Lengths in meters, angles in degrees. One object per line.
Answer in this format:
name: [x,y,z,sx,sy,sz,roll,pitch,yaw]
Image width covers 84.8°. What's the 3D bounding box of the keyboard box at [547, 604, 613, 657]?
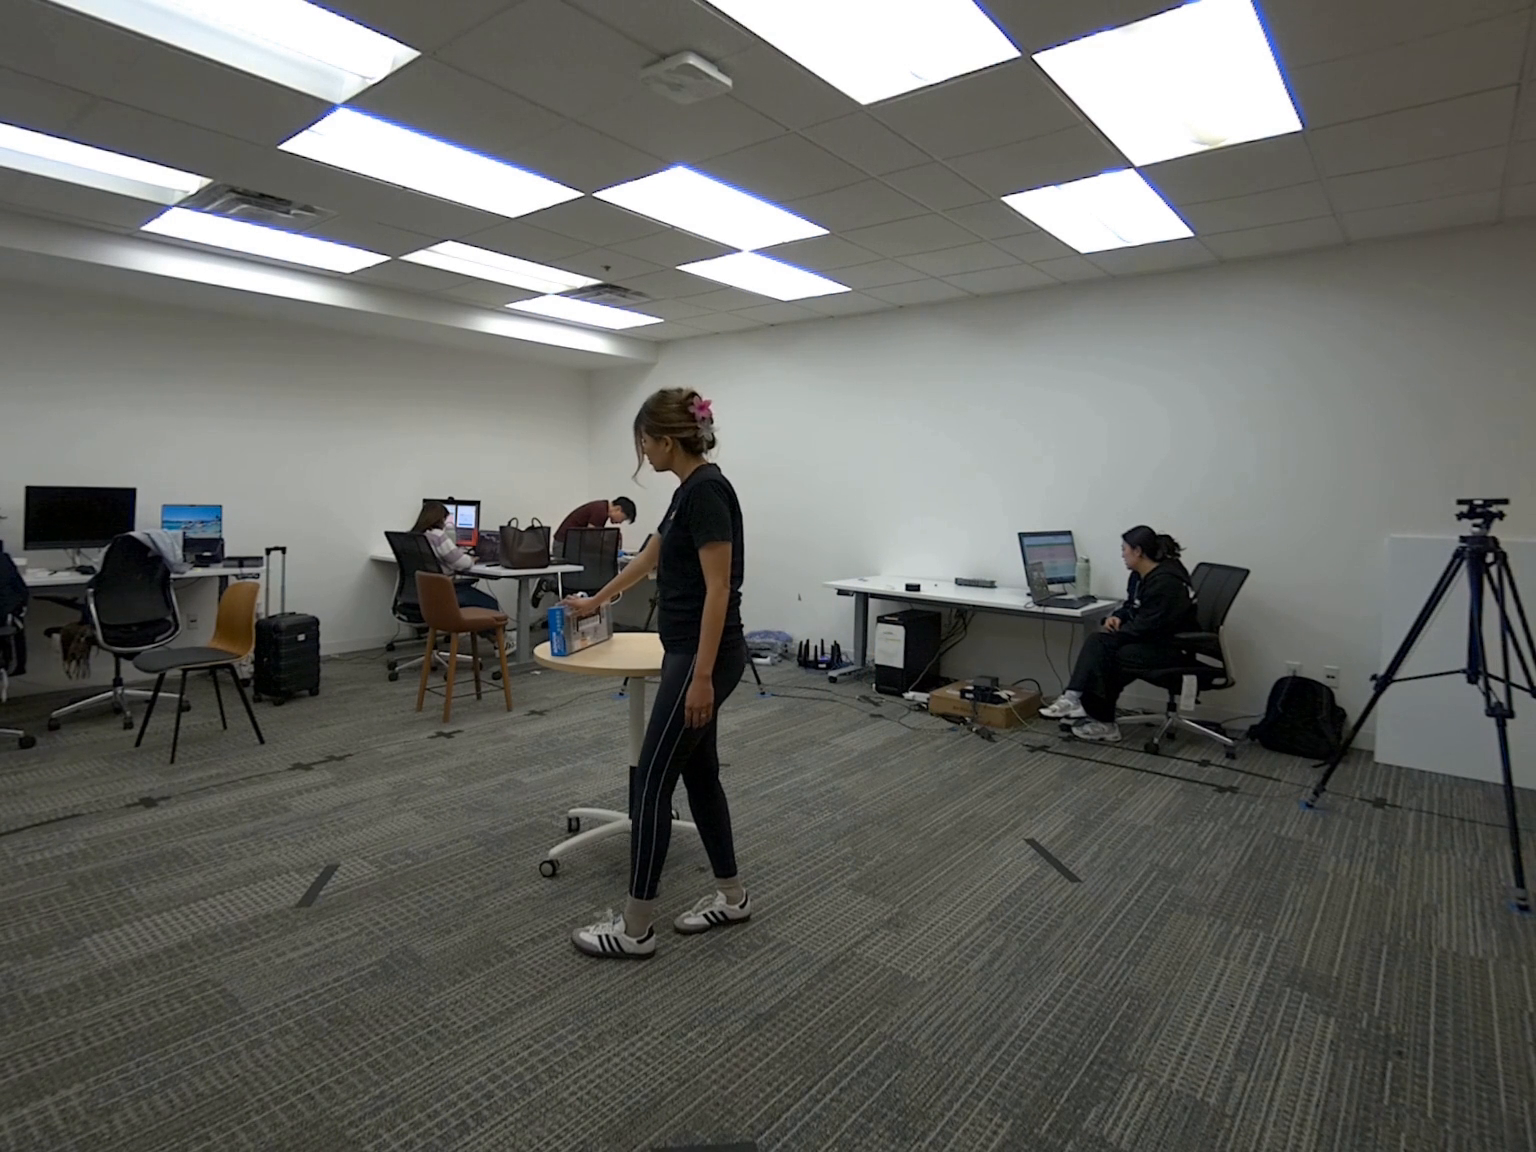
keyboard box: [-0.712,0.178,3.223,0.060,0.176,0.431,-4,3,13]
